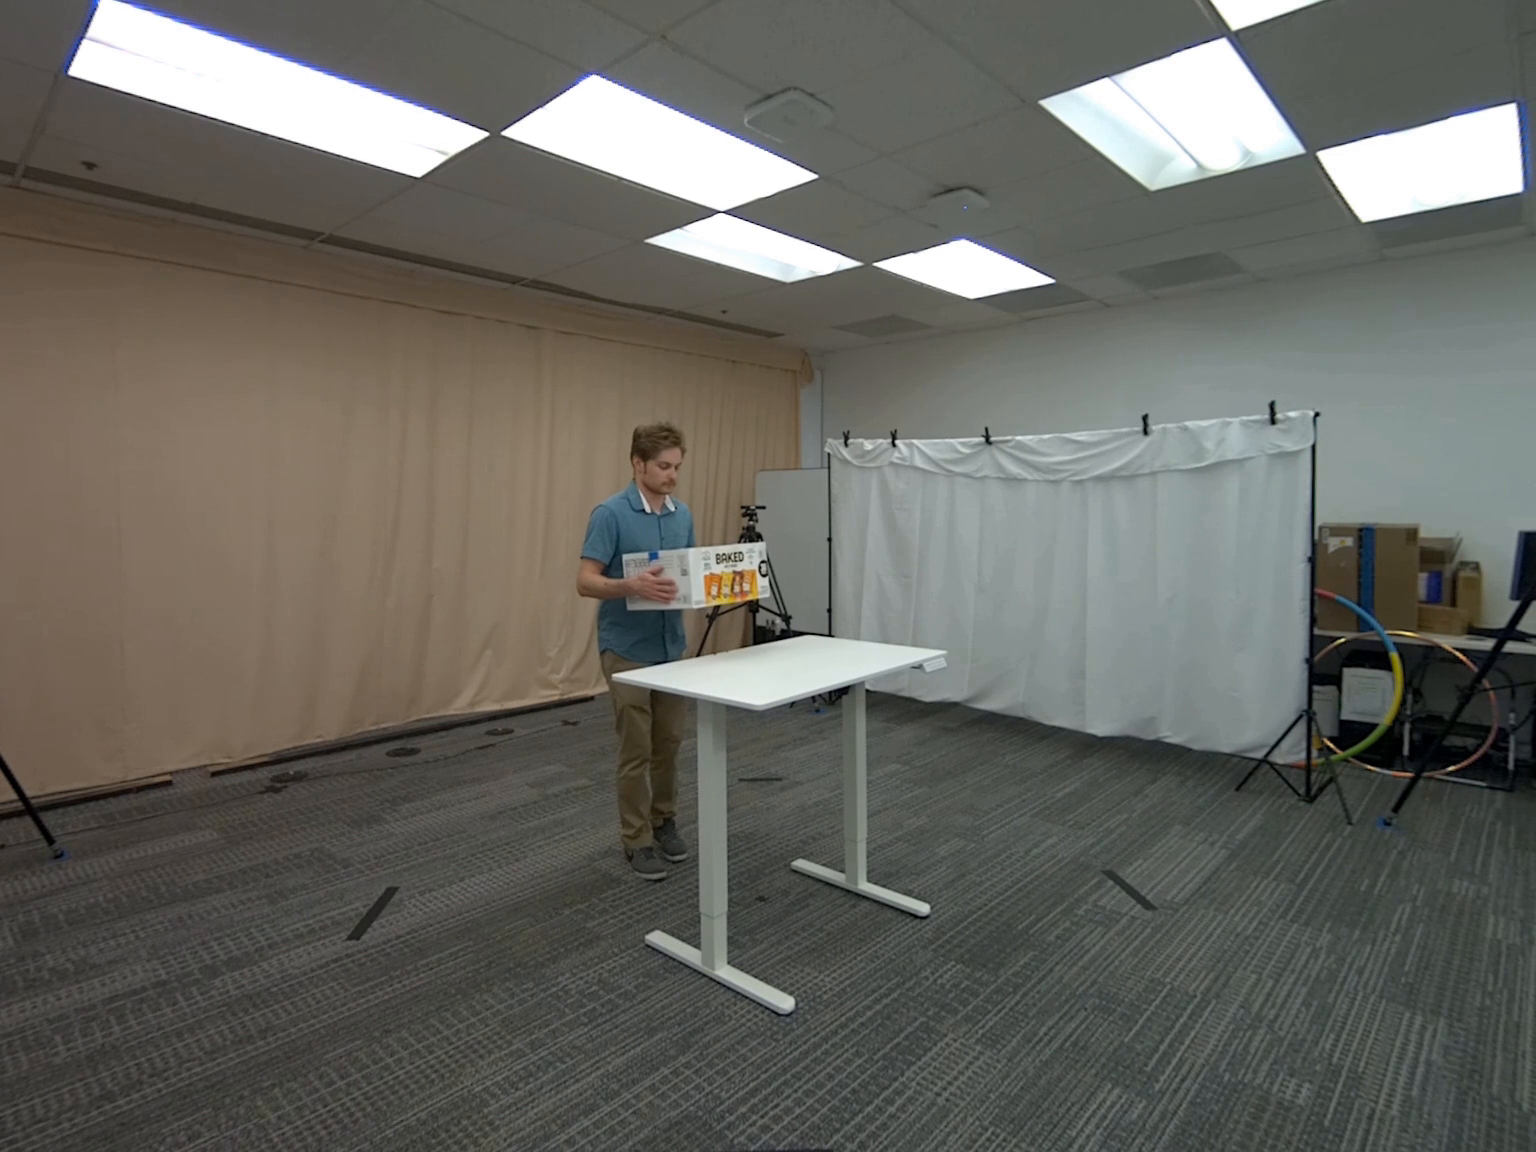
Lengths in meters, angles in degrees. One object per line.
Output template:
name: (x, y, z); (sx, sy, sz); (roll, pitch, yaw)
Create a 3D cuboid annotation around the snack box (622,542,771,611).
snack box: (-0.255, 0.000, 3.044); (0.351, 0.205, 0.393); (-4, 2, 42)
